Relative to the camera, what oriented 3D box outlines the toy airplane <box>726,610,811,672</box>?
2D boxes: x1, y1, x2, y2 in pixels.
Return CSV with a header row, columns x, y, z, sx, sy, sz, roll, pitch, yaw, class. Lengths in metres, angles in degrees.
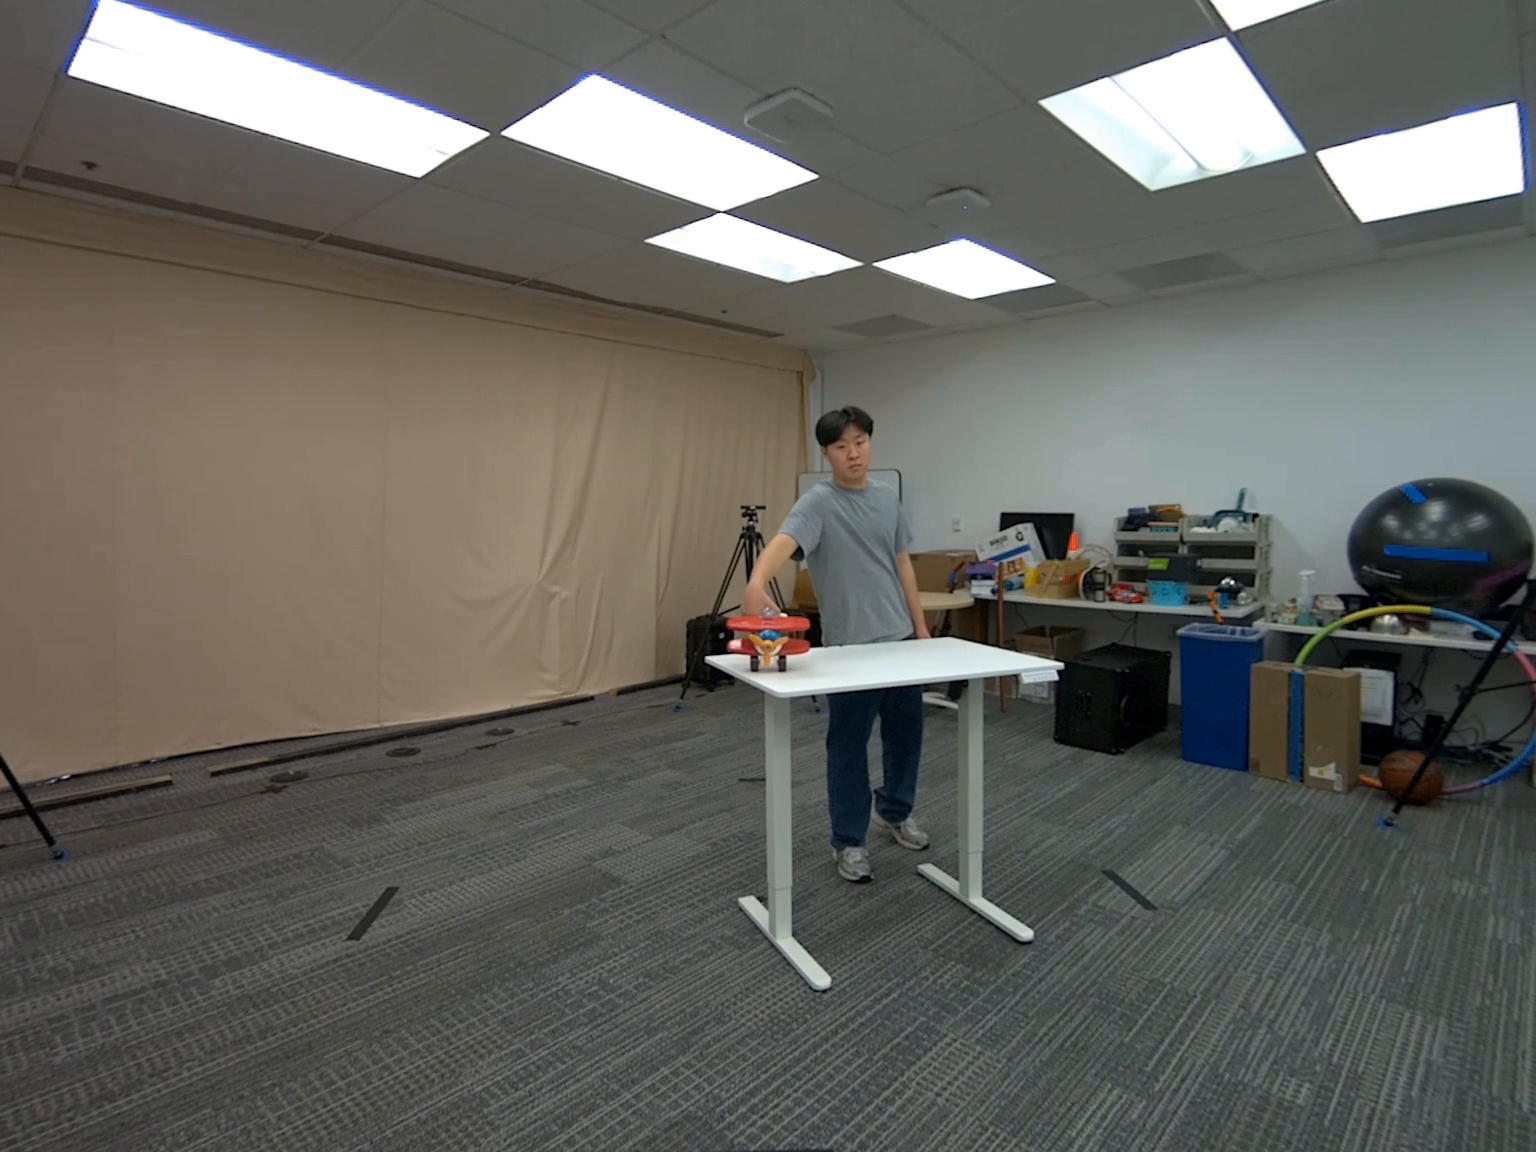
x,y,z,sx,sy,sz,roll,pitch,yaw,class
-0.007,0.183,2.642,0.247,0.153,0.268,-16,37,-21,toy airplane
